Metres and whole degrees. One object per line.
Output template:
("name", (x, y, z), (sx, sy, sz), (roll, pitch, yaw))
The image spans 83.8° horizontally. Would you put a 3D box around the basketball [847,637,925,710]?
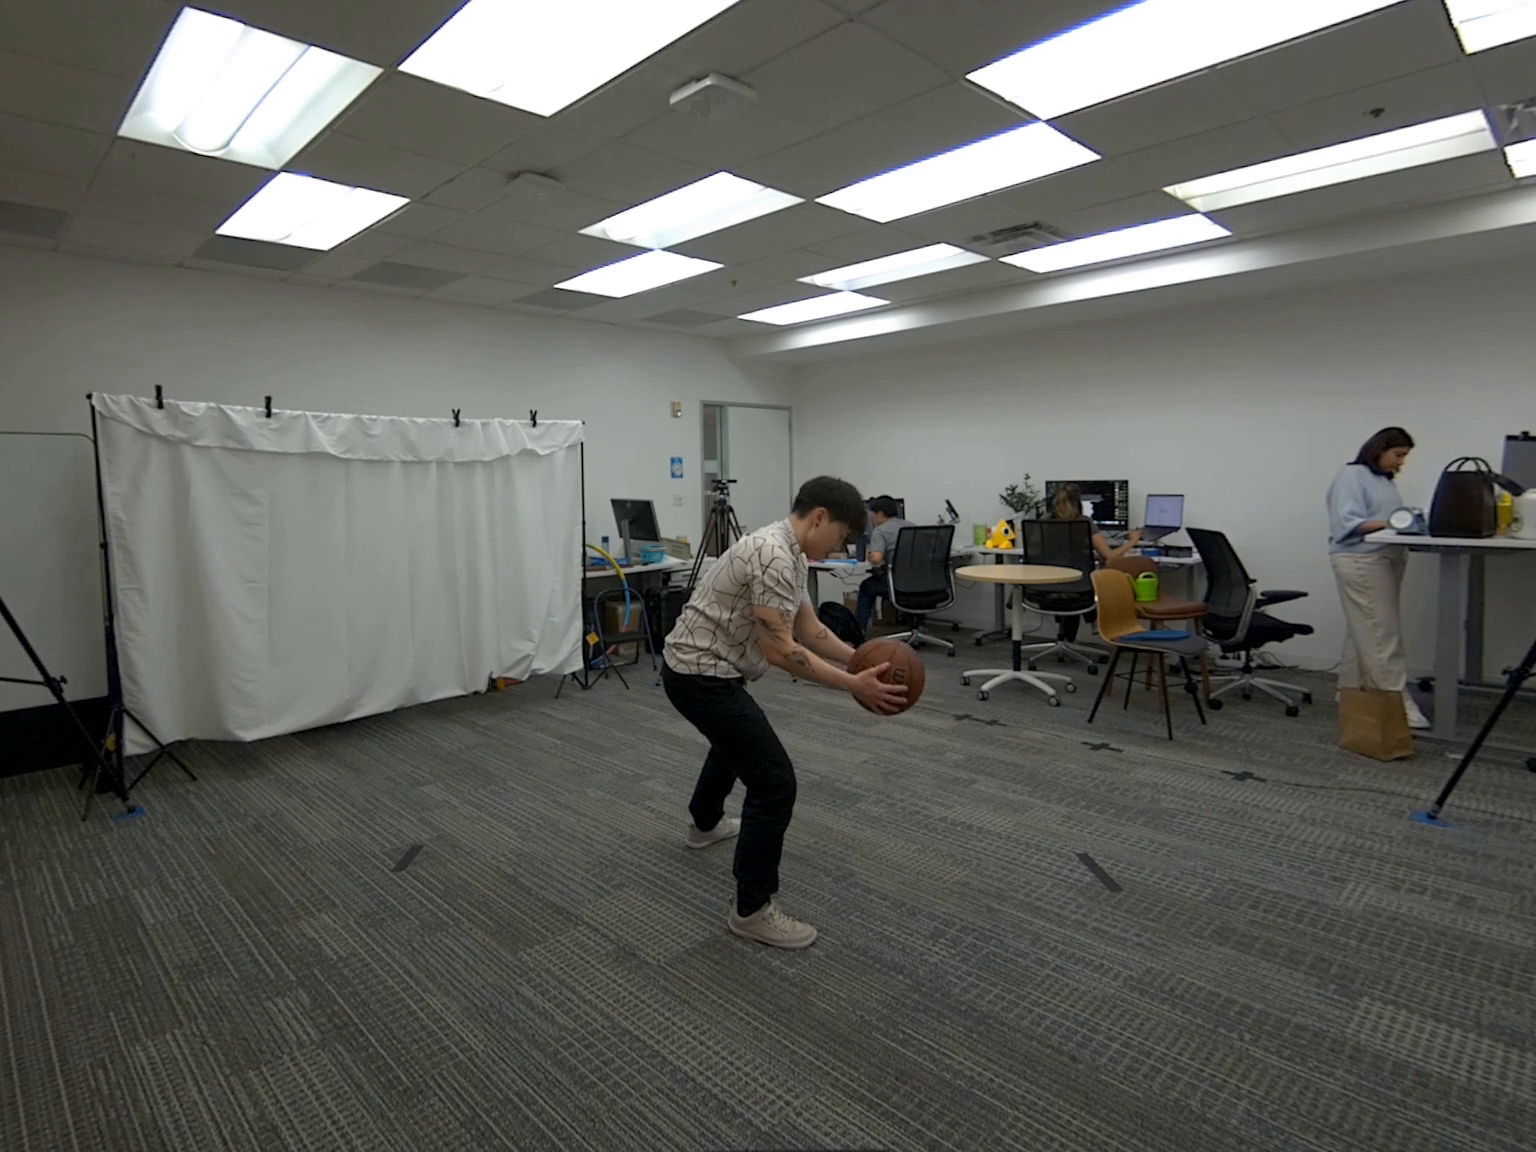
("basketball", (0.362, 0.306, 2.638), (0.236, 0.235, 0.237), (-1, 5, -2))
